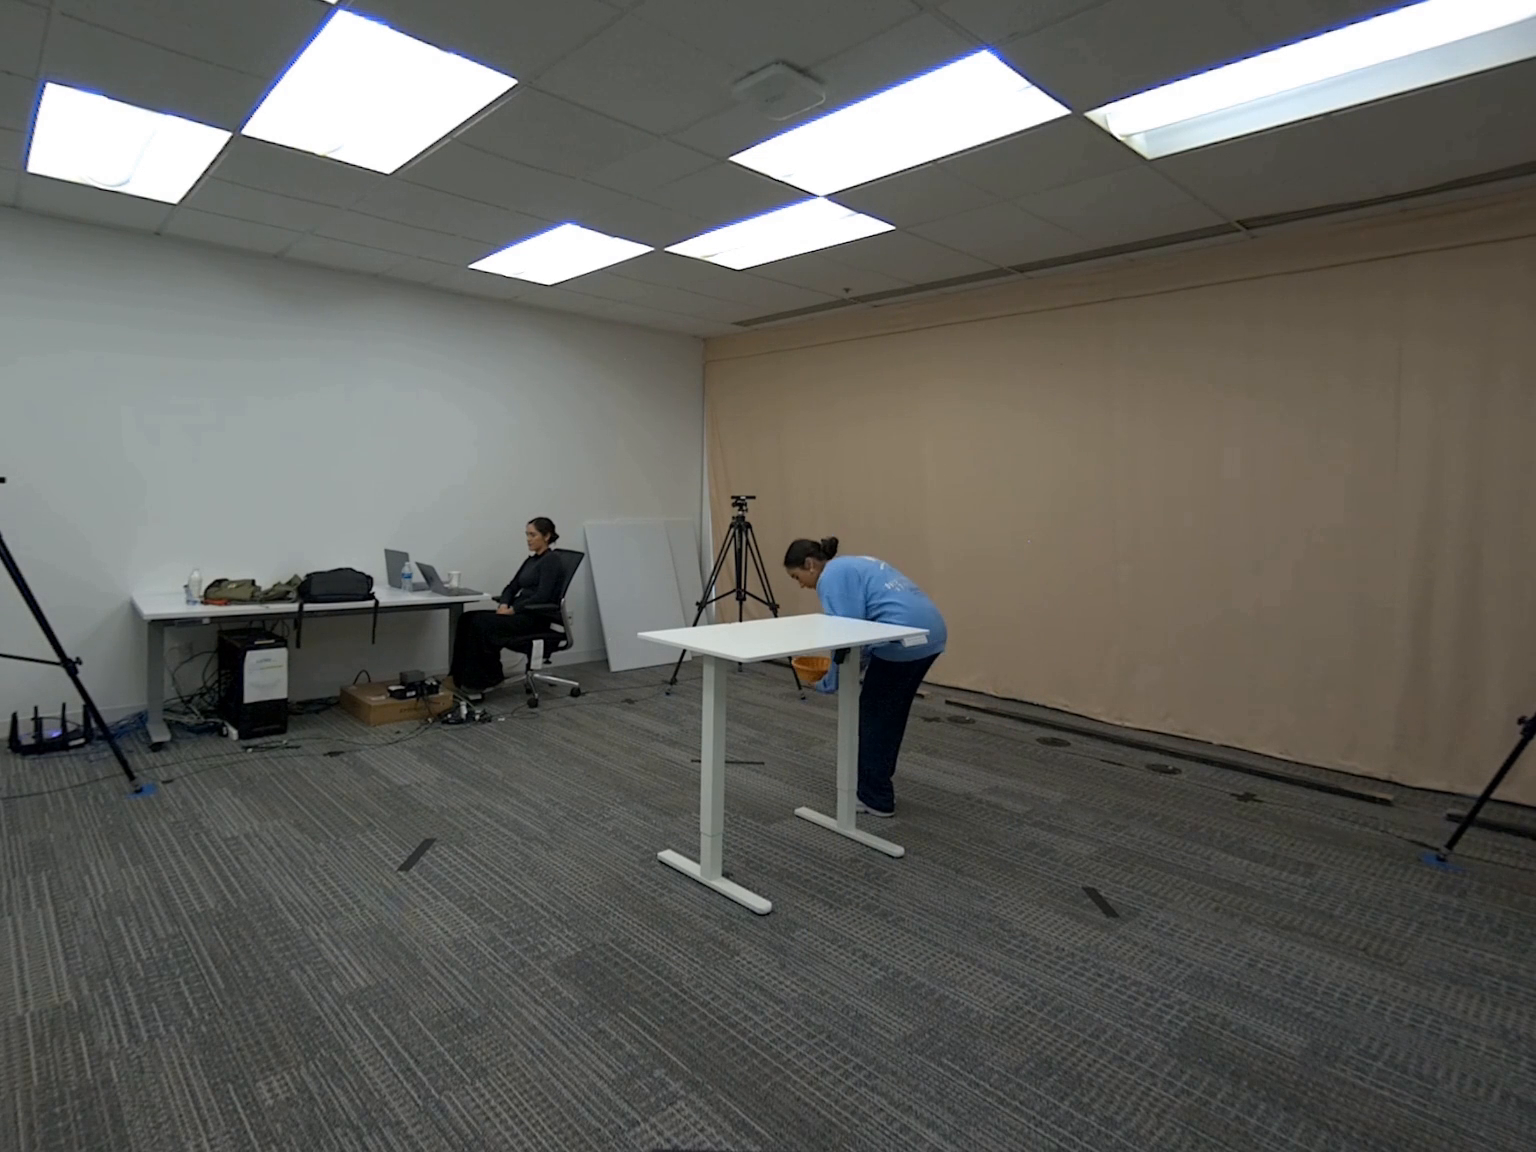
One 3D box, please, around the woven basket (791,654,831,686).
[{"bbox_3d":[0.253,0.445,3.994,0.255,0.073,0.348,3,5,11],"label":"woven basket"}]
